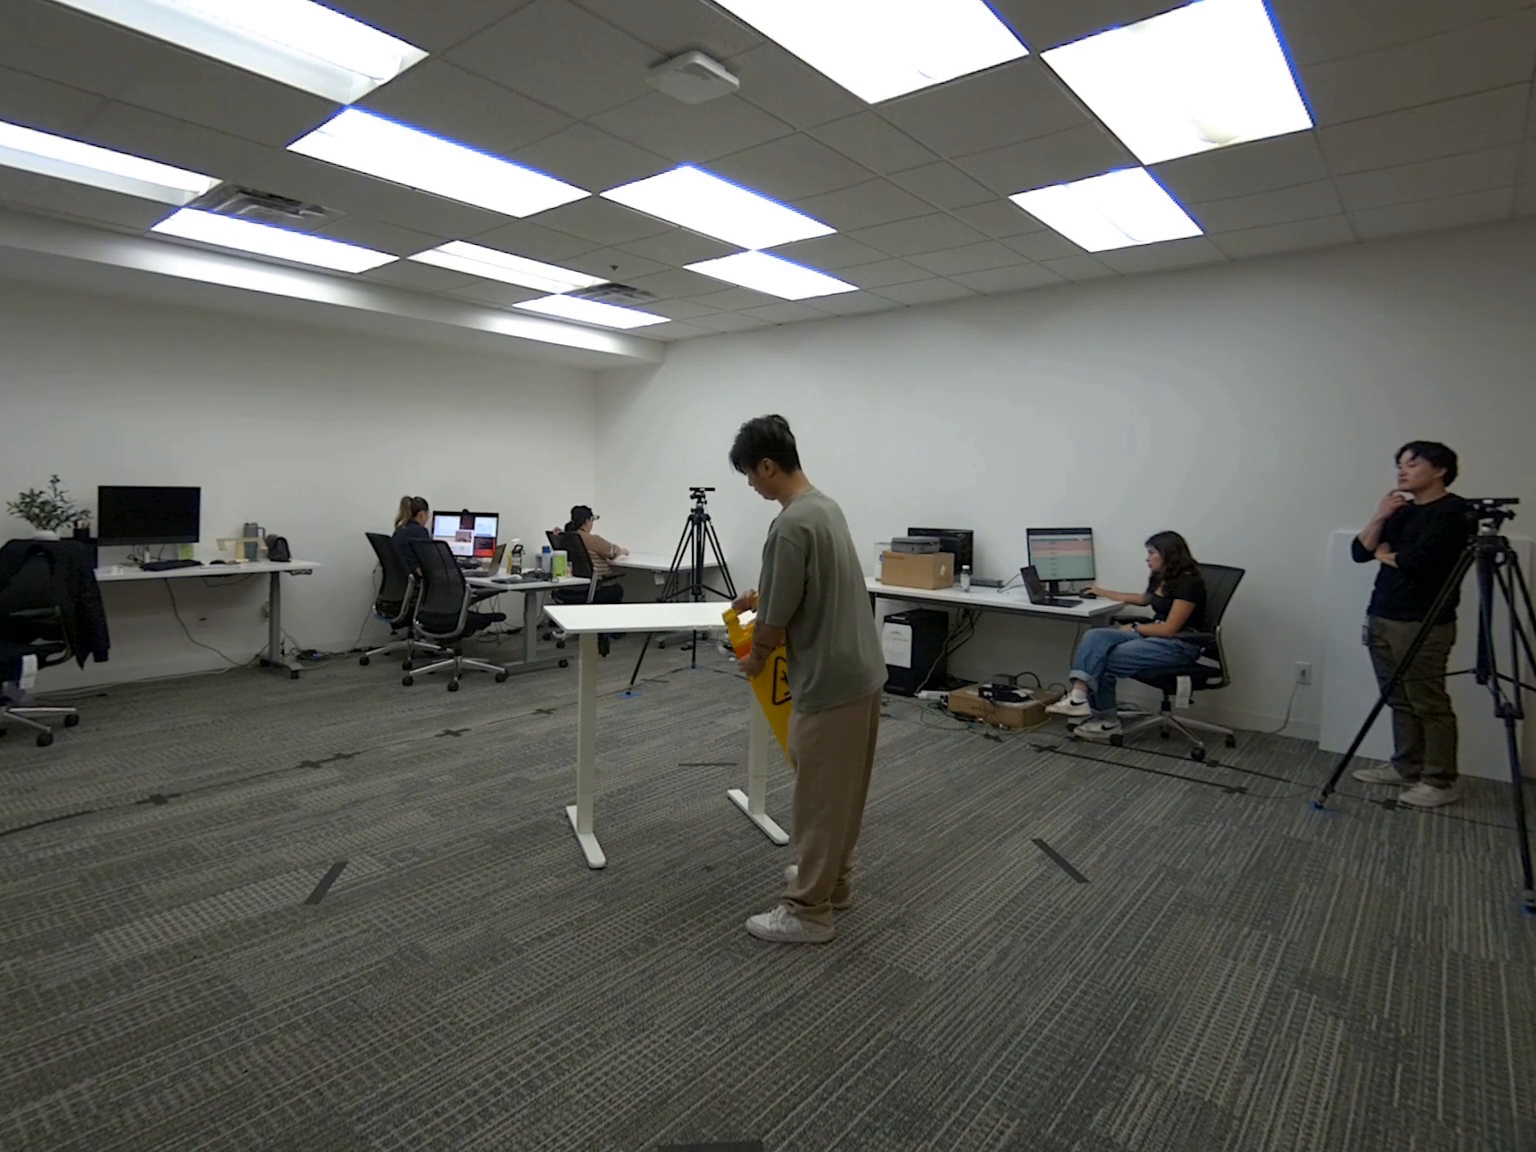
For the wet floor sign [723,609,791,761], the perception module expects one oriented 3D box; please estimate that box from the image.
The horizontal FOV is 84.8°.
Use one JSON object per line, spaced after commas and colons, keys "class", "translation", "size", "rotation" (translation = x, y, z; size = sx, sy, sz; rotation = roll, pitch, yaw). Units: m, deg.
{"class": "wet floor sign", "translation": [0.051, 0.351, 2.926], "size": [0.283, 0.630, 0.296], "rotation": [-26, 20, 3]}
